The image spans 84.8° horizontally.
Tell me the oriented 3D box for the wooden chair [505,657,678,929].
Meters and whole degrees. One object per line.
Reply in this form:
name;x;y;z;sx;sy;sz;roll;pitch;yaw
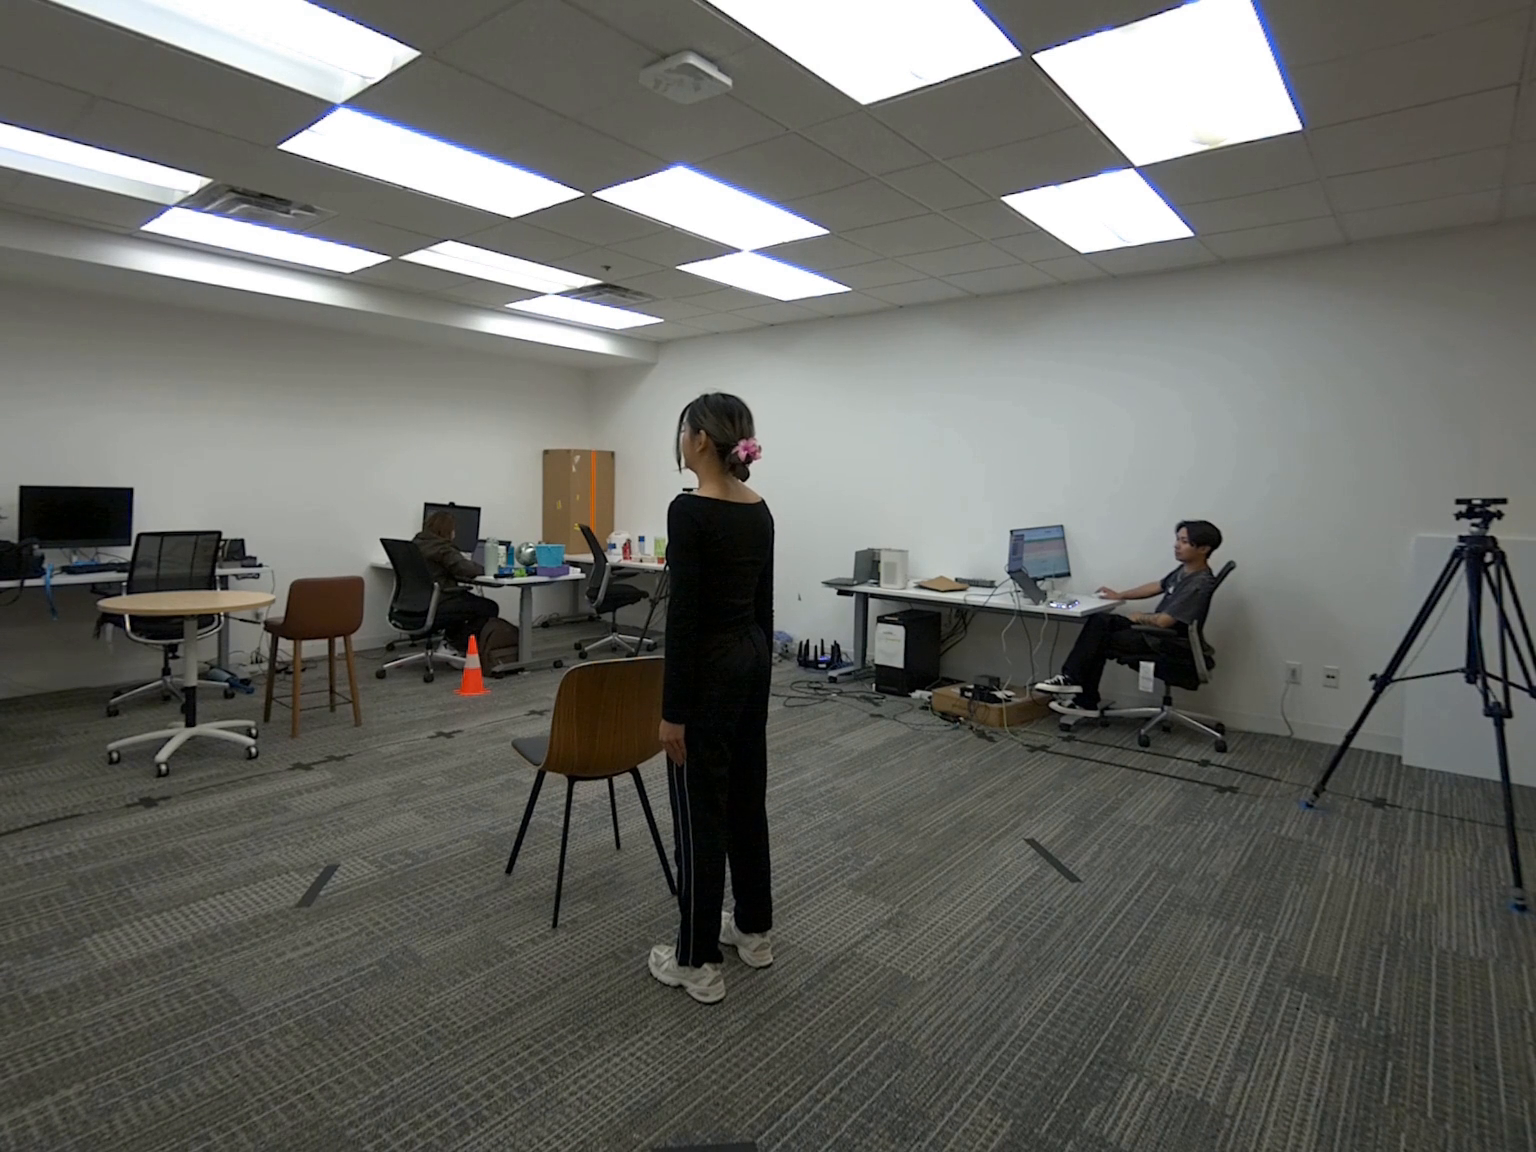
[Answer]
wooden chair;-0.629;0.652;2.954;0.464;0.872;0.542;-2;9;-34
